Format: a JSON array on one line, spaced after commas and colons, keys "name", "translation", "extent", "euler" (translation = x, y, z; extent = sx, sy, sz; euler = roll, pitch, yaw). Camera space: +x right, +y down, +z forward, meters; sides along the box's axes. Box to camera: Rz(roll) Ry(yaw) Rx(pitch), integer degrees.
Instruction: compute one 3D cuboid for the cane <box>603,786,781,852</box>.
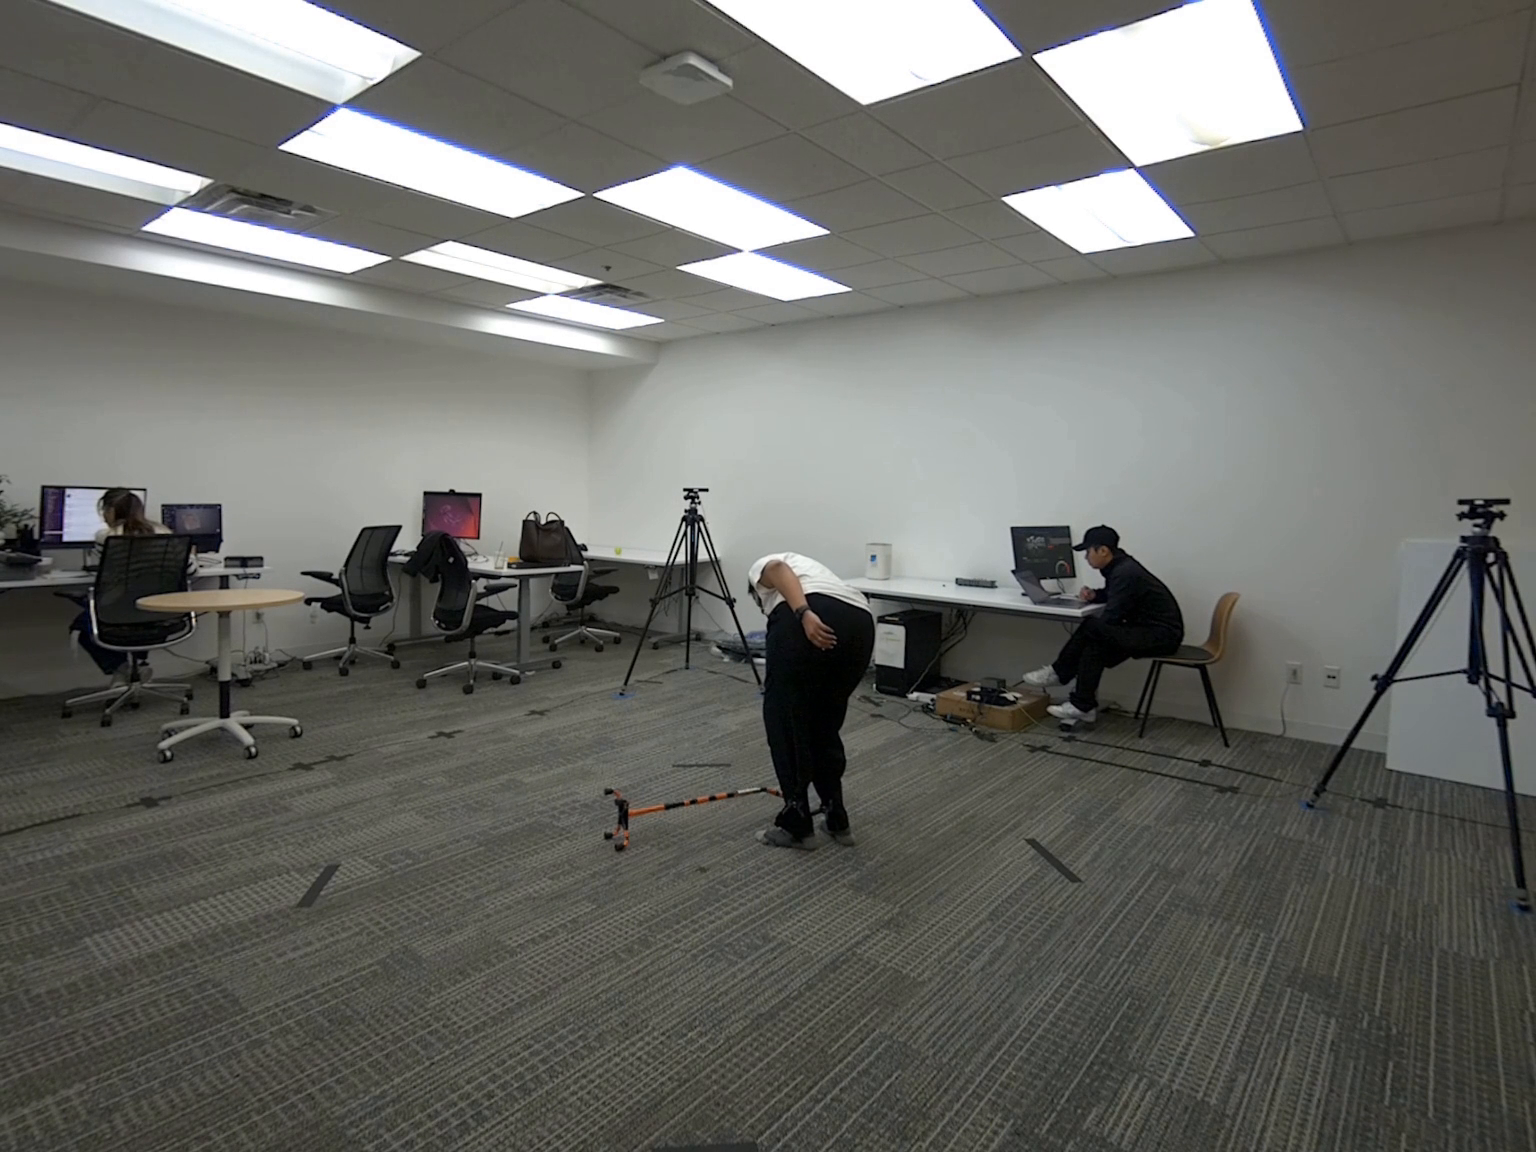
[{"name": "cane", "translation": [-0.239, 0.910, 3.508], "extent": [0.885, 0.206, 0.155], "euler": [-3, 2, -28]}]
